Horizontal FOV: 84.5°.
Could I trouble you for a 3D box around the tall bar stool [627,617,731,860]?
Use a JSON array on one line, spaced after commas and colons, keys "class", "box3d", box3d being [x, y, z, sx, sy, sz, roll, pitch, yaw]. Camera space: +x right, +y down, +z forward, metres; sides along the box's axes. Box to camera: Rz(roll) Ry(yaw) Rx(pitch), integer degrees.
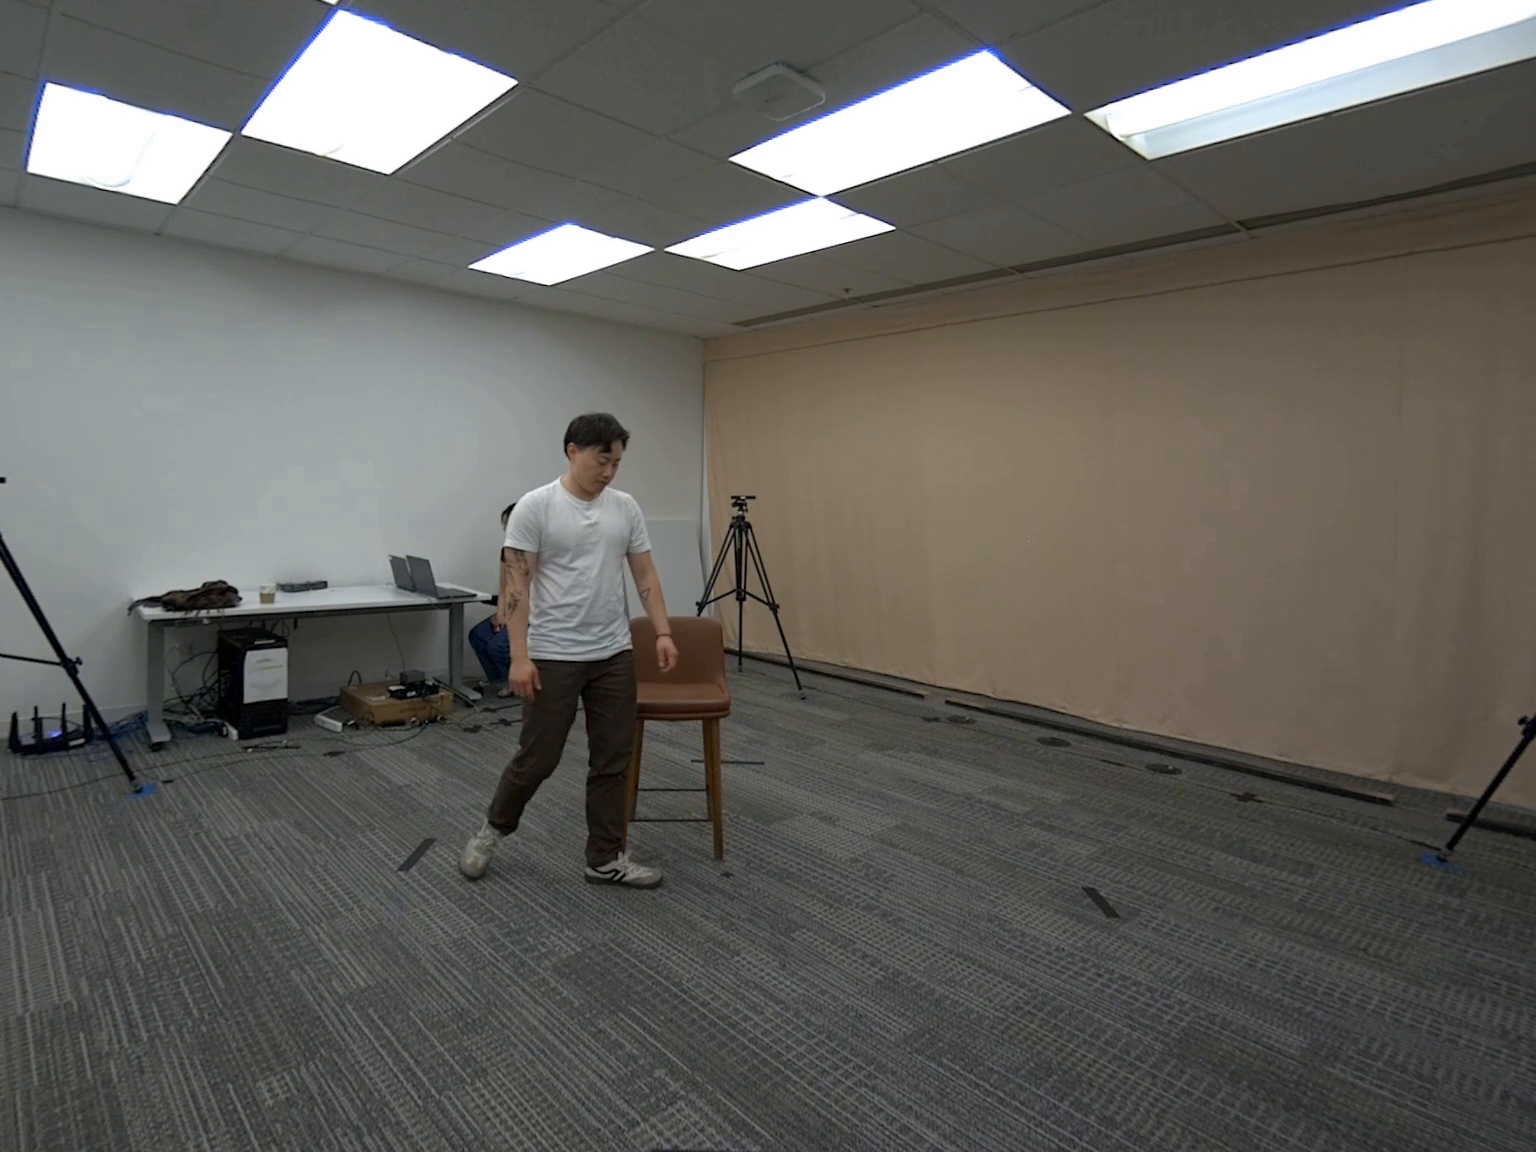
[{"class": "tall bar stool", "box3d": [-0.390, 0.634, 3.410, 0.455, 0.889, 0.470, 2, 1, -6]}]
